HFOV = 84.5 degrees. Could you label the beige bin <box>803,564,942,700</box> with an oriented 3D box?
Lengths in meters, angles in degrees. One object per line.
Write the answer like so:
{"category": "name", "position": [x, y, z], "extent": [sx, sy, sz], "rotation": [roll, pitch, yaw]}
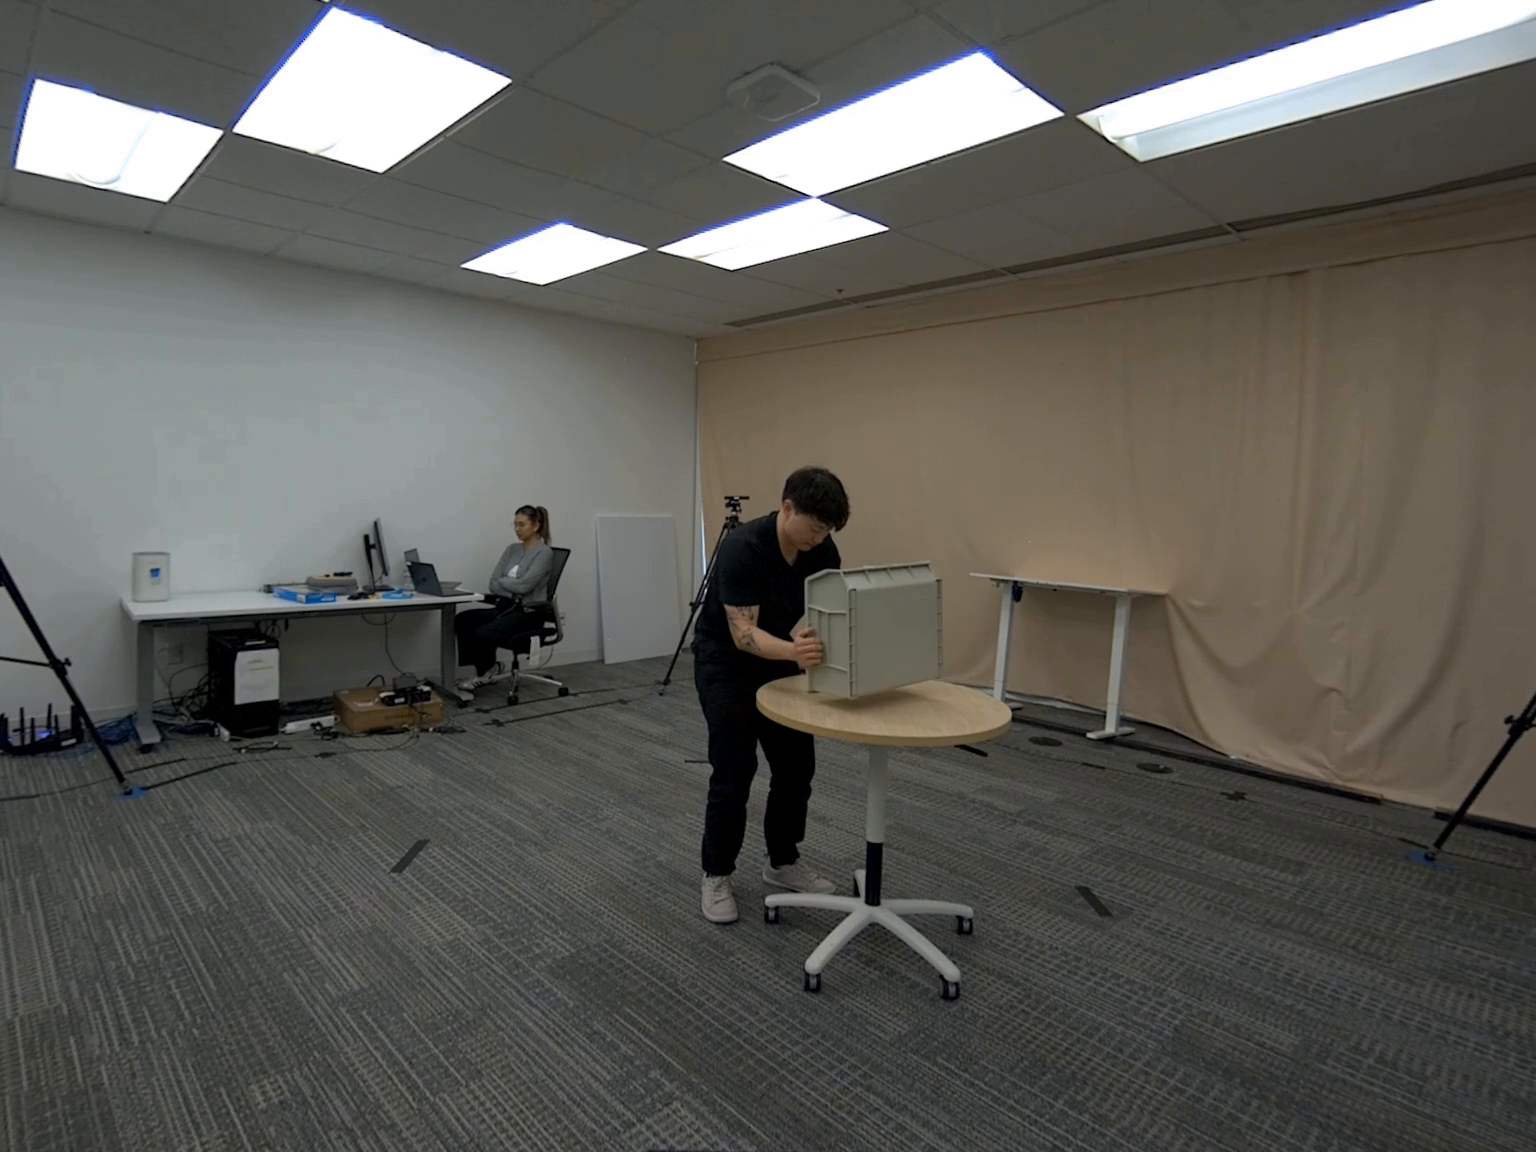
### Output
{"category": "beige bin", "position": [0.324, 0.156, 2.555], "extent": [0.413, 0.376, 0.194], "rotation": [-4, 6, -37]}
